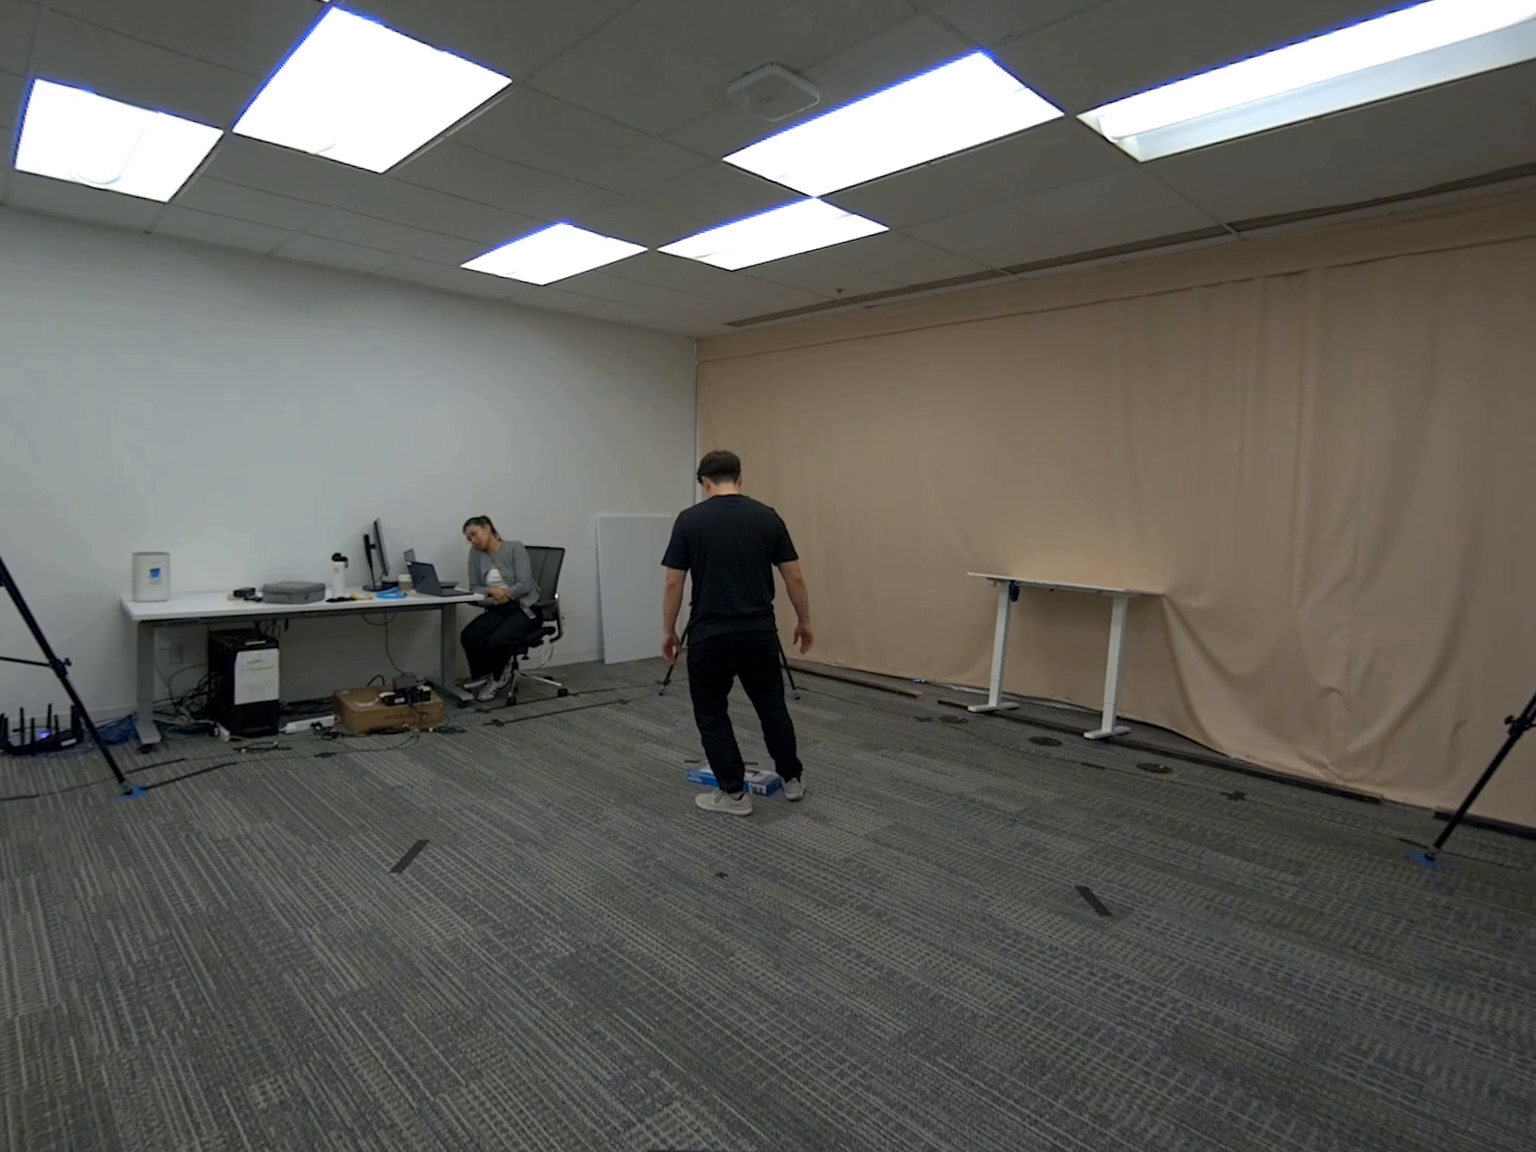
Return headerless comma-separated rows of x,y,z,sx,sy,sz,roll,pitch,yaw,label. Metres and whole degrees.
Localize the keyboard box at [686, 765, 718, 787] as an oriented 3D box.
-0.164,0.986,4.117,0.445,0.059,0.173,4,6,26,keyboard box
